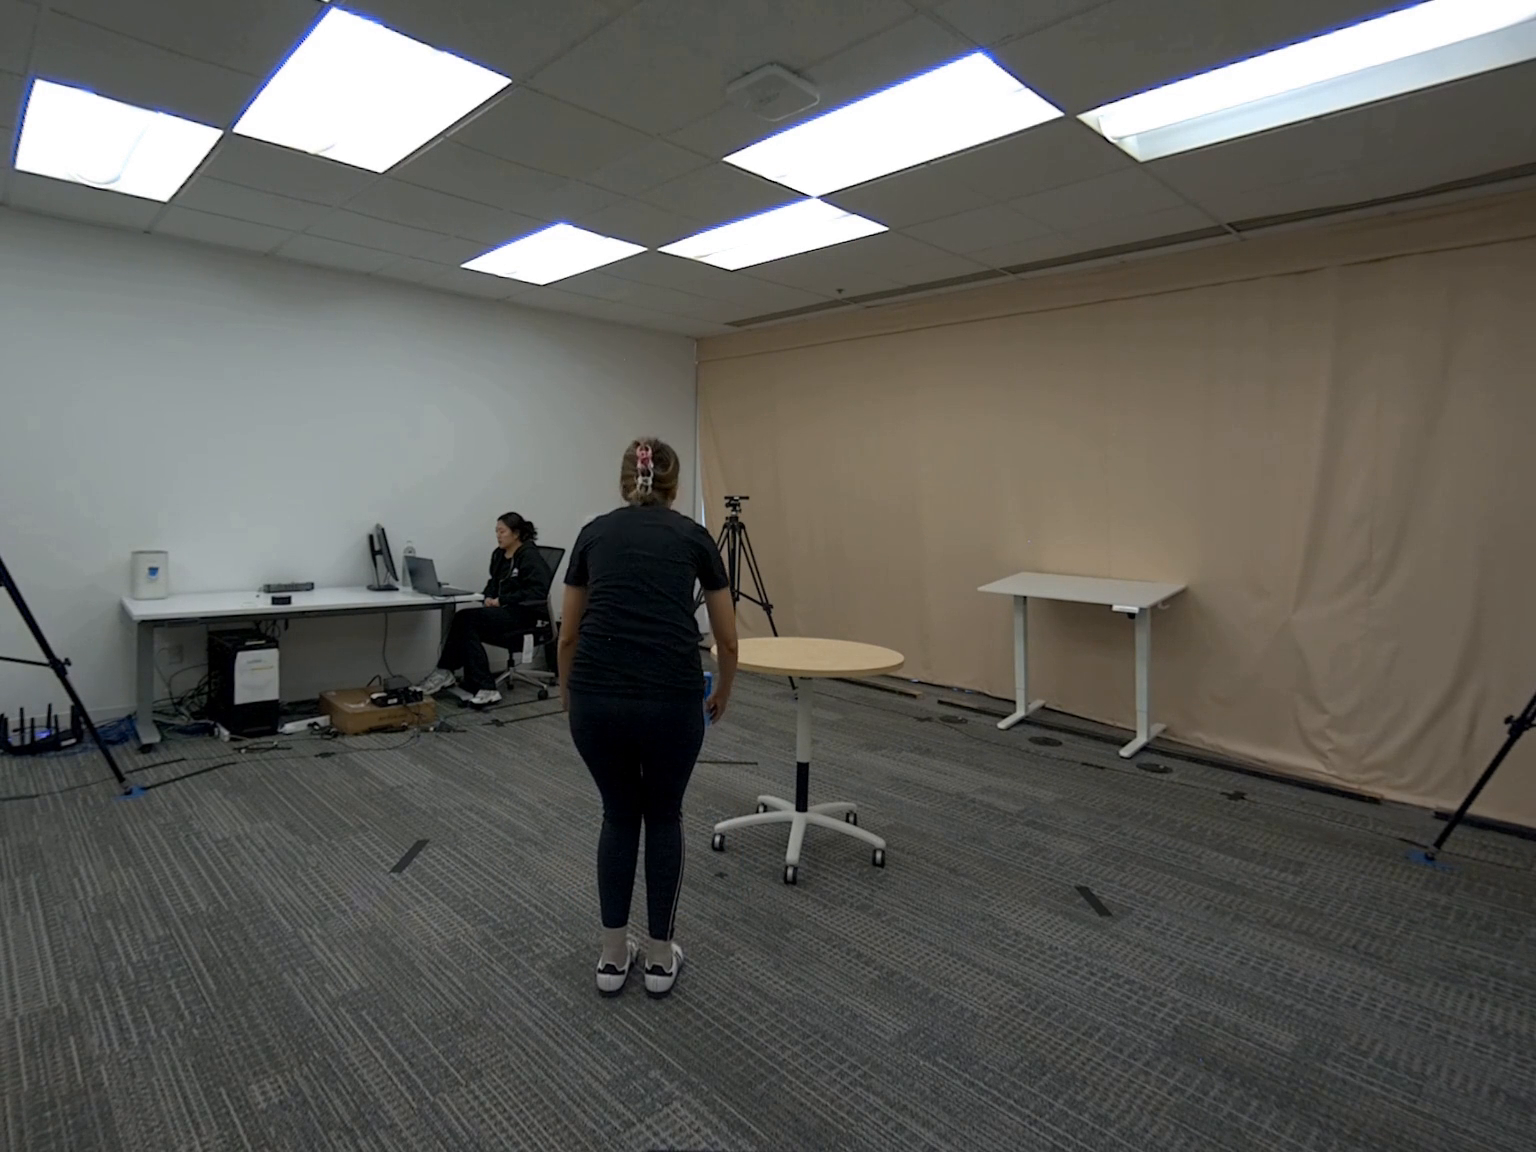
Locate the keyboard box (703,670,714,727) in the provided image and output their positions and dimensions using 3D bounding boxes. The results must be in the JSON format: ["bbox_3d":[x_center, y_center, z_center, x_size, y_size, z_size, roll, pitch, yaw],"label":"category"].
[{"bbox_3d":[-0.424,0.411,2.809,0.435,0.175,0.059,3,4,-4],"label":"keyboard box"}]
